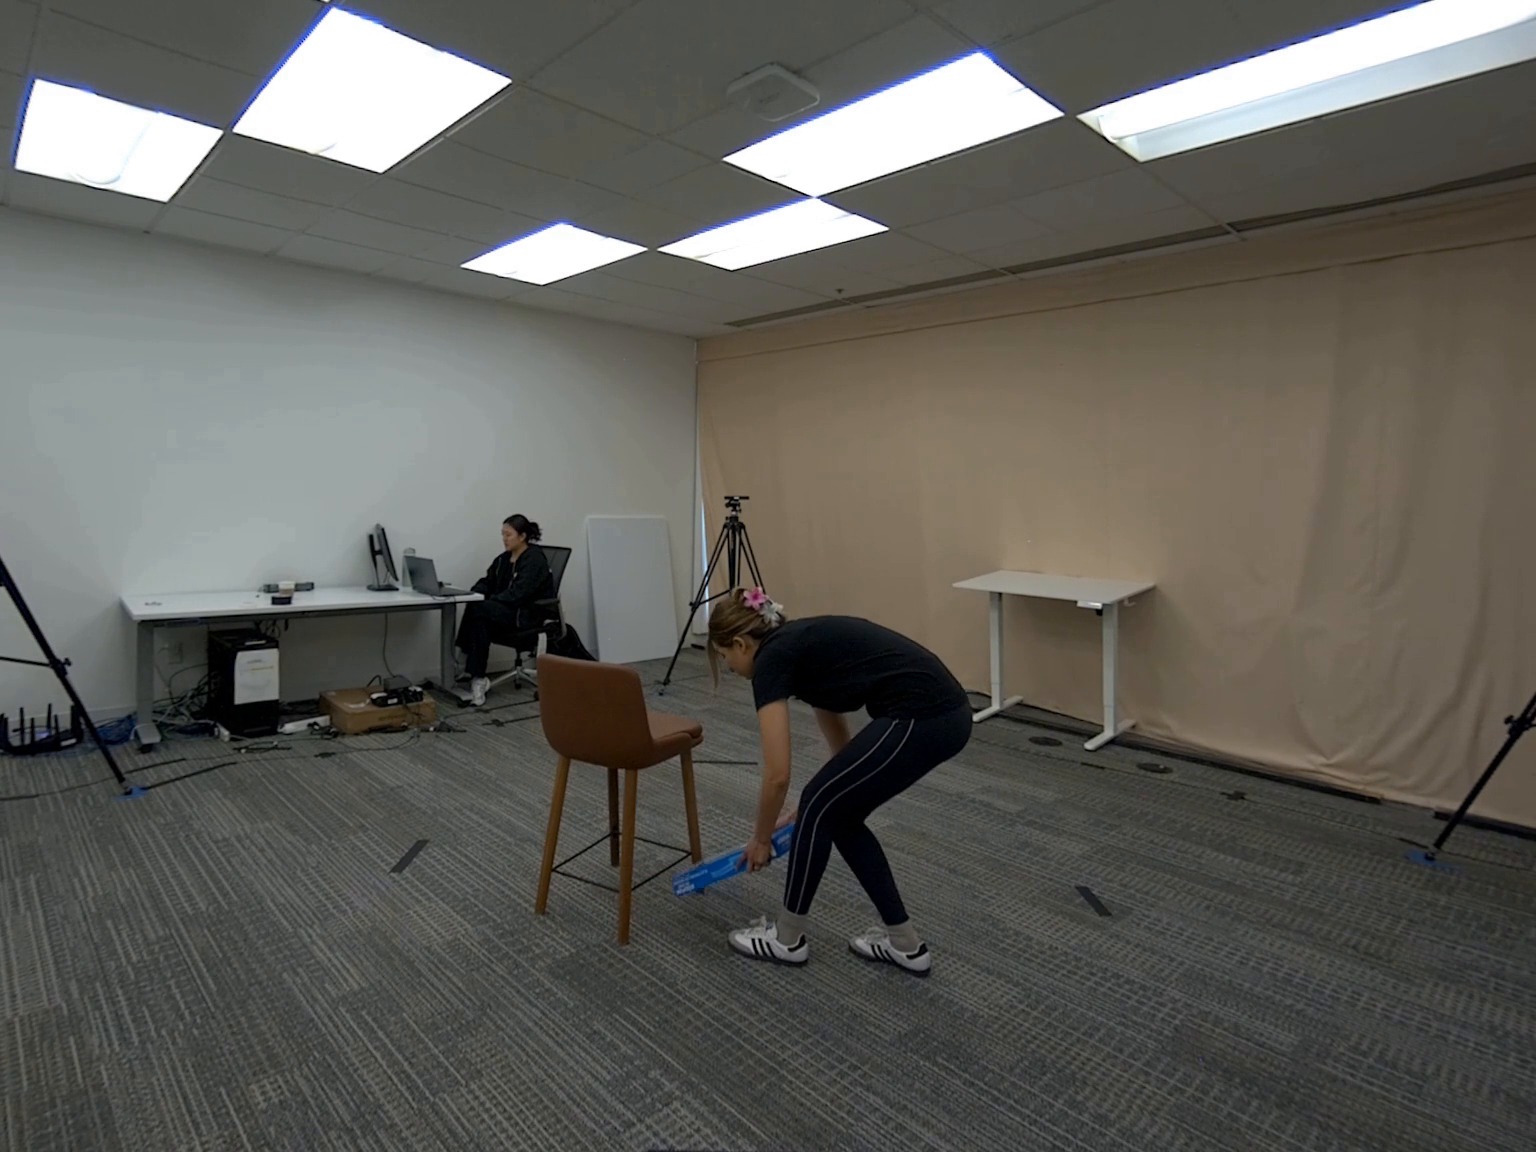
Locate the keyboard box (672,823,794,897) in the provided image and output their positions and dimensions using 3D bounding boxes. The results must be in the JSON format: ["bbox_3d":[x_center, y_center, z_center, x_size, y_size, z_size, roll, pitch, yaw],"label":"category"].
[{"bbox_3d":[-0.101,0.905,2.684,0.440,0.060,0.172,-31,-11,28],"label":"keyboard box"}]
